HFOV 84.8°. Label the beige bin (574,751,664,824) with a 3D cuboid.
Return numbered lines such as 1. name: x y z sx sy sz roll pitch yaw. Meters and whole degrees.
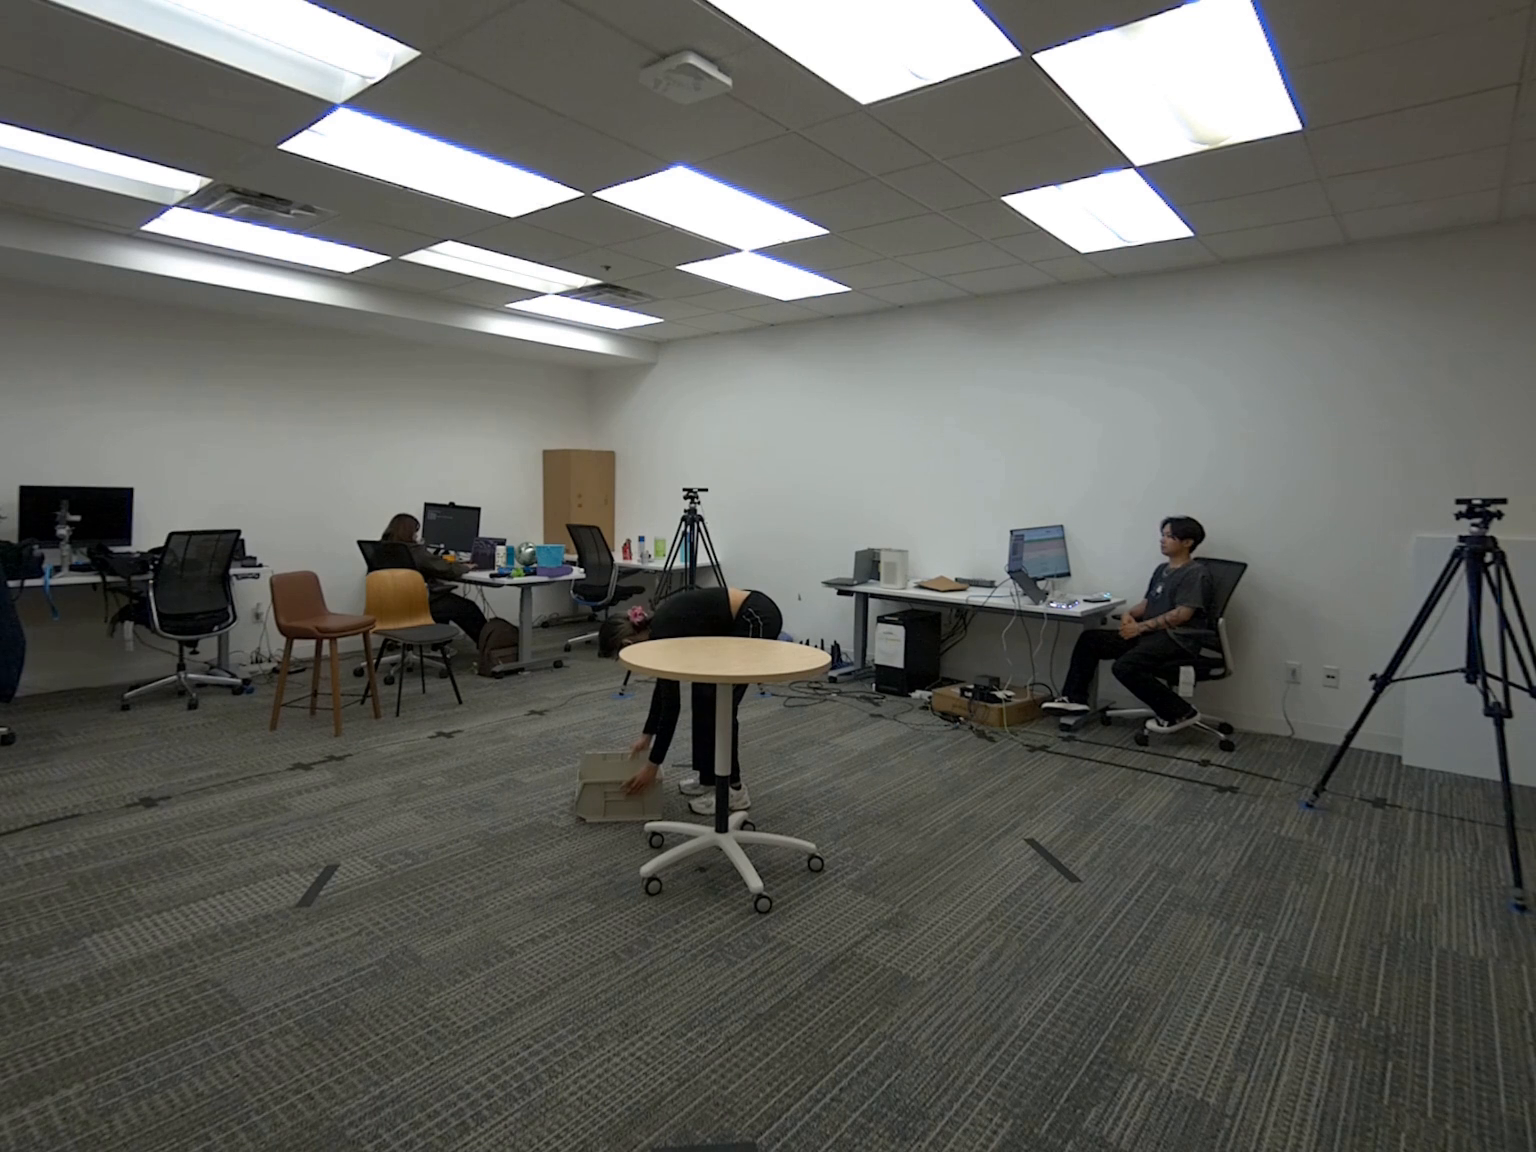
1. beige bin: -0.670 0.911 3.747 0.374 0.188 0.428 1 5 -10
